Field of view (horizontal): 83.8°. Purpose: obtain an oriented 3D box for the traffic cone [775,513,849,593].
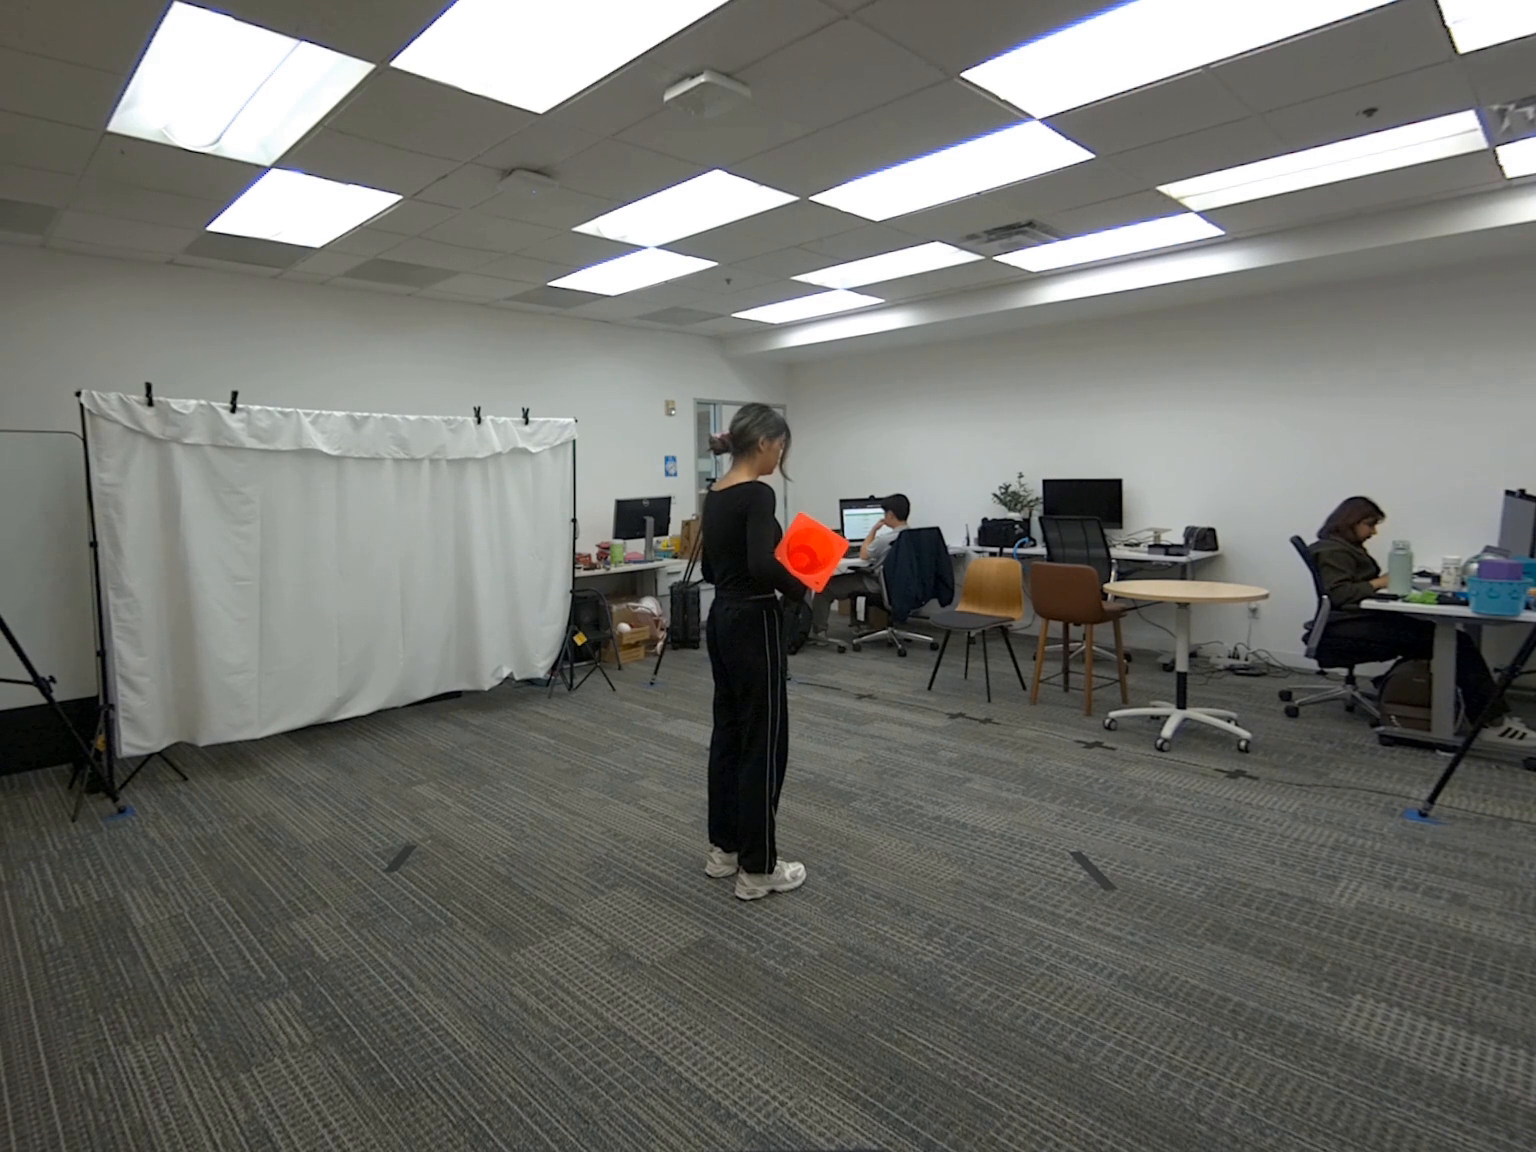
[{"bbox_3d":[0.125,-0.063,2.978,0.205,0.204,0.382,29,-7,0],"label":"traffic cone"}]
